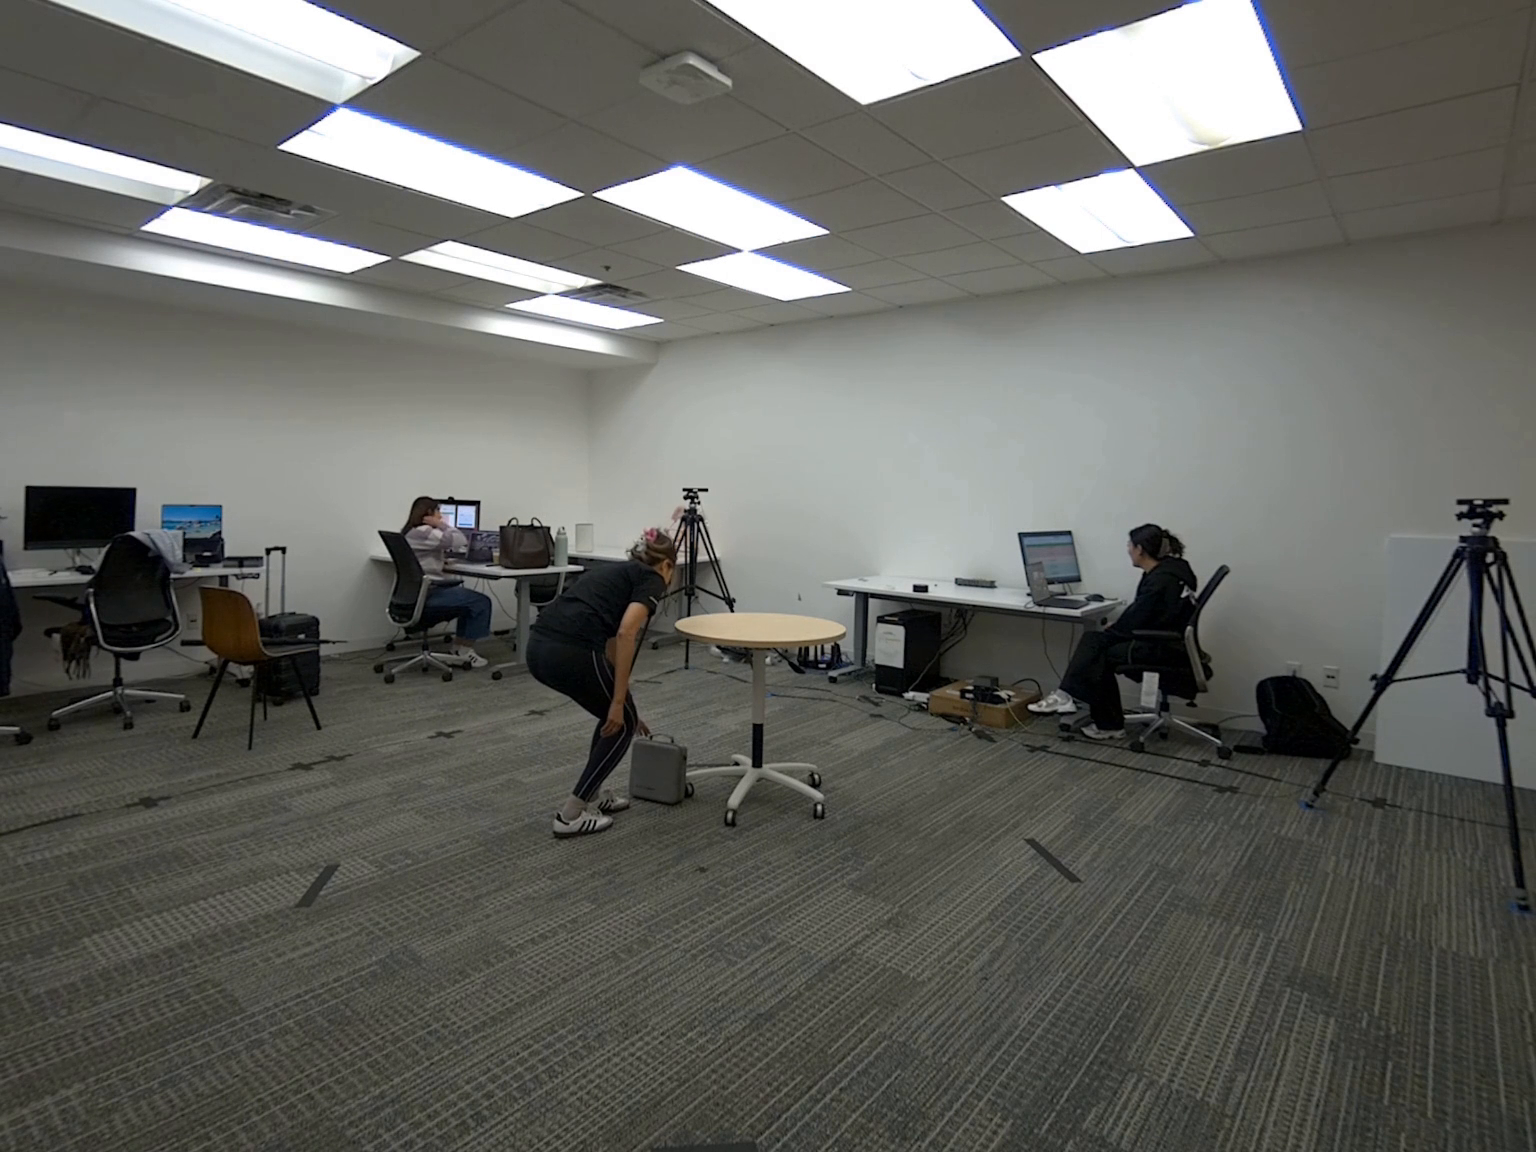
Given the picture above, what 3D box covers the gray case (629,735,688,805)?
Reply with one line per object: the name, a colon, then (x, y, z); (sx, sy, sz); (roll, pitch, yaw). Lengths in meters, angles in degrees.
gray case: (-0.510, 0.862, 3.809); (0.265, 0.261, 0.101); (2, -4, 33)
